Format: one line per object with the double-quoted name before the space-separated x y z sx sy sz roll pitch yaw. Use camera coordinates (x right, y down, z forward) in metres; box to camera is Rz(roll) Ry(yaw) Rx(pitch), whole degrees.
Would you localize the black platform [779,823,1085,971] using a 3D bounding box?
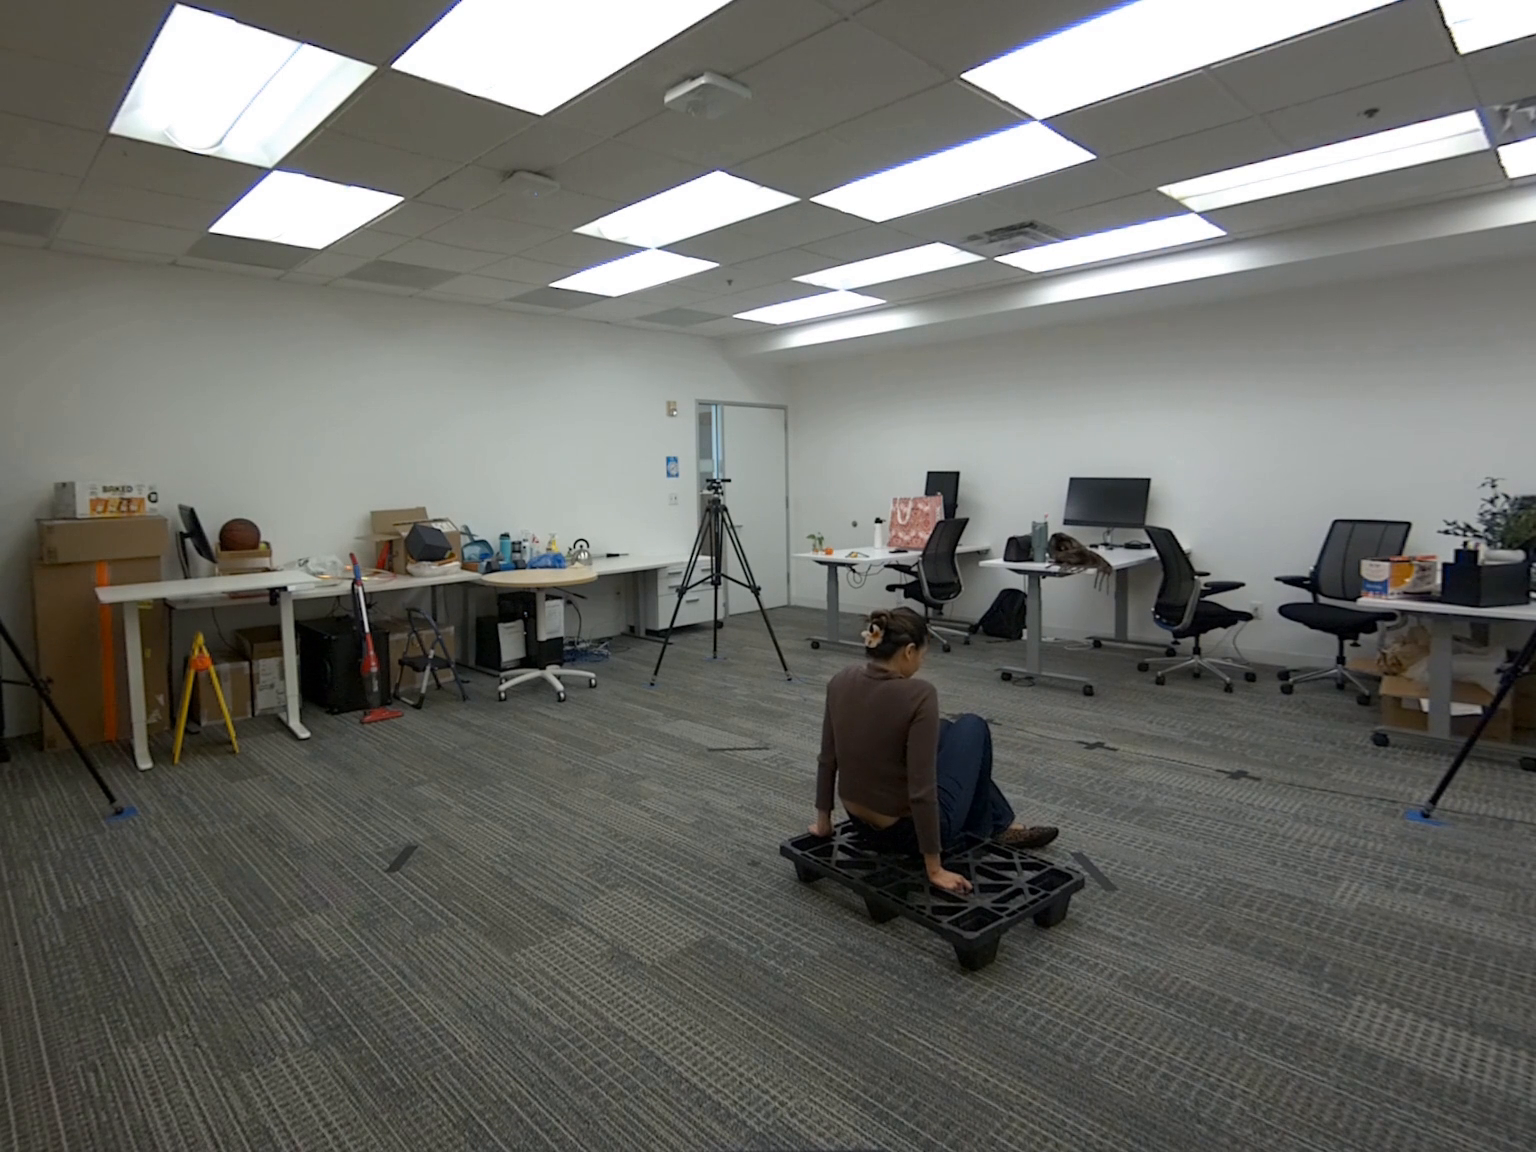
"black platform" 0.519 1.003 2.820 0.590 0.143 0.830 -6 8 -38
